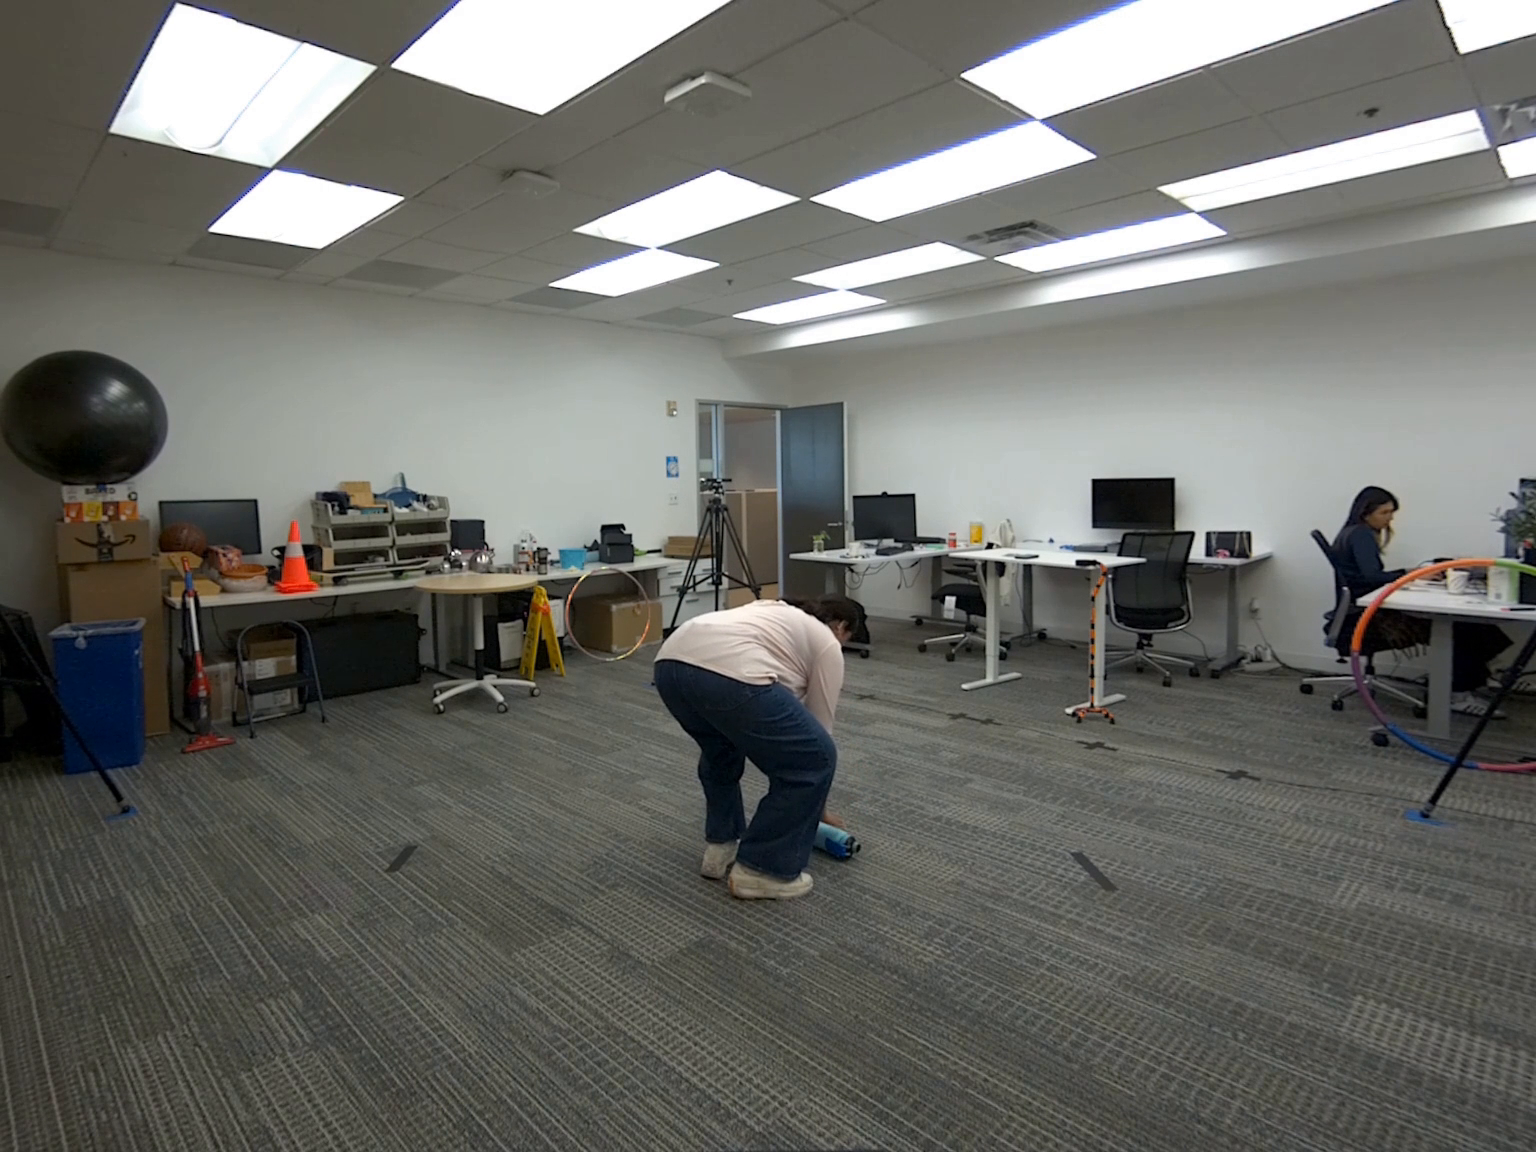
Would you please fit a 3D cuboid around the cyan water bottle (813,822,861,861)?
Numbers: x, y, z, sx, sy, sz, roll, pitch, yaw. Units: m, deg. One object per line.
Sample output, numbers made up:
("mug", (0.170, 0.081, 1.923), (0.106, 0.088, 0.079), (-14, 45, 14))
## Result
("cyan water bottle", (0.215, 0.974, 3.209), (0.090, 0.092, 0.292), (-5, 9, -43))
